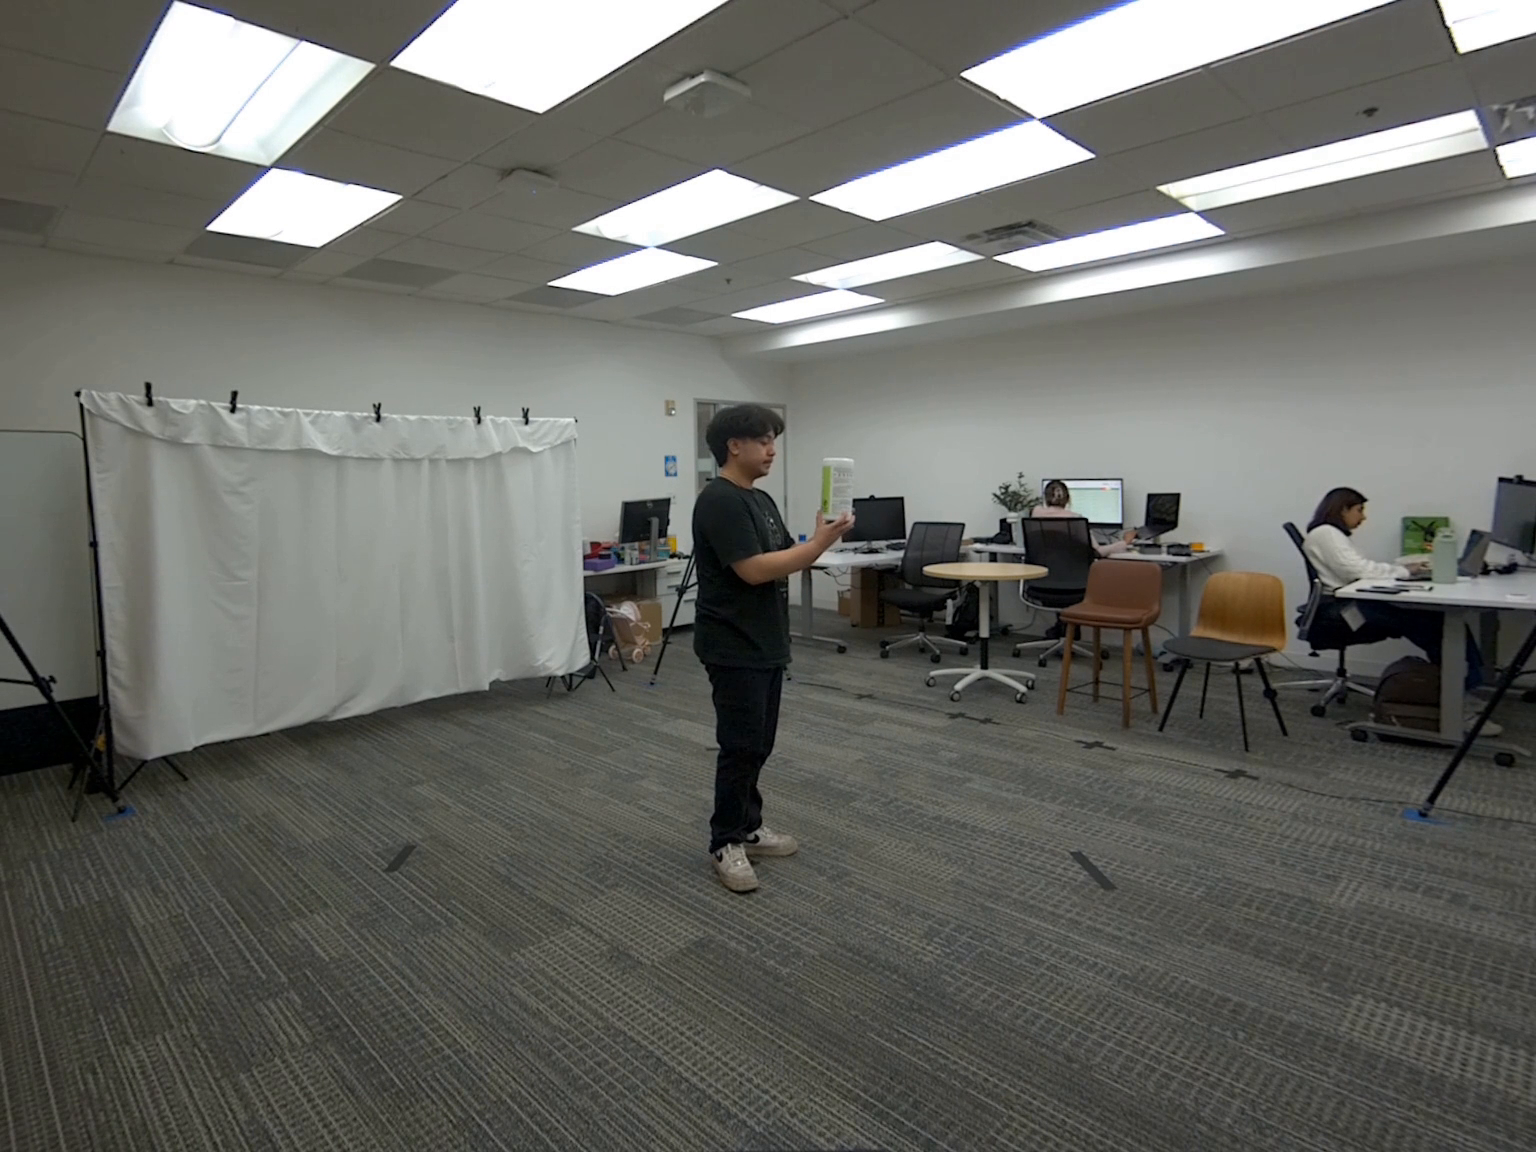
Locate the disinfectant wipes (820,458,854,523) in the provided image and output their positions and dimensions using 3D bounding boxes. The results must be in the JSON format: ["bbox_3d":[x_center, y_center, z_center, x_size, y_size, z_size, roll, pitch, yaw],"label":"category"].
[{"bbox_3d":[0.240,-0.298,2.973,0.118,0.217,0.118,1,4,-2],"label":"disinfectant wipes"}]
